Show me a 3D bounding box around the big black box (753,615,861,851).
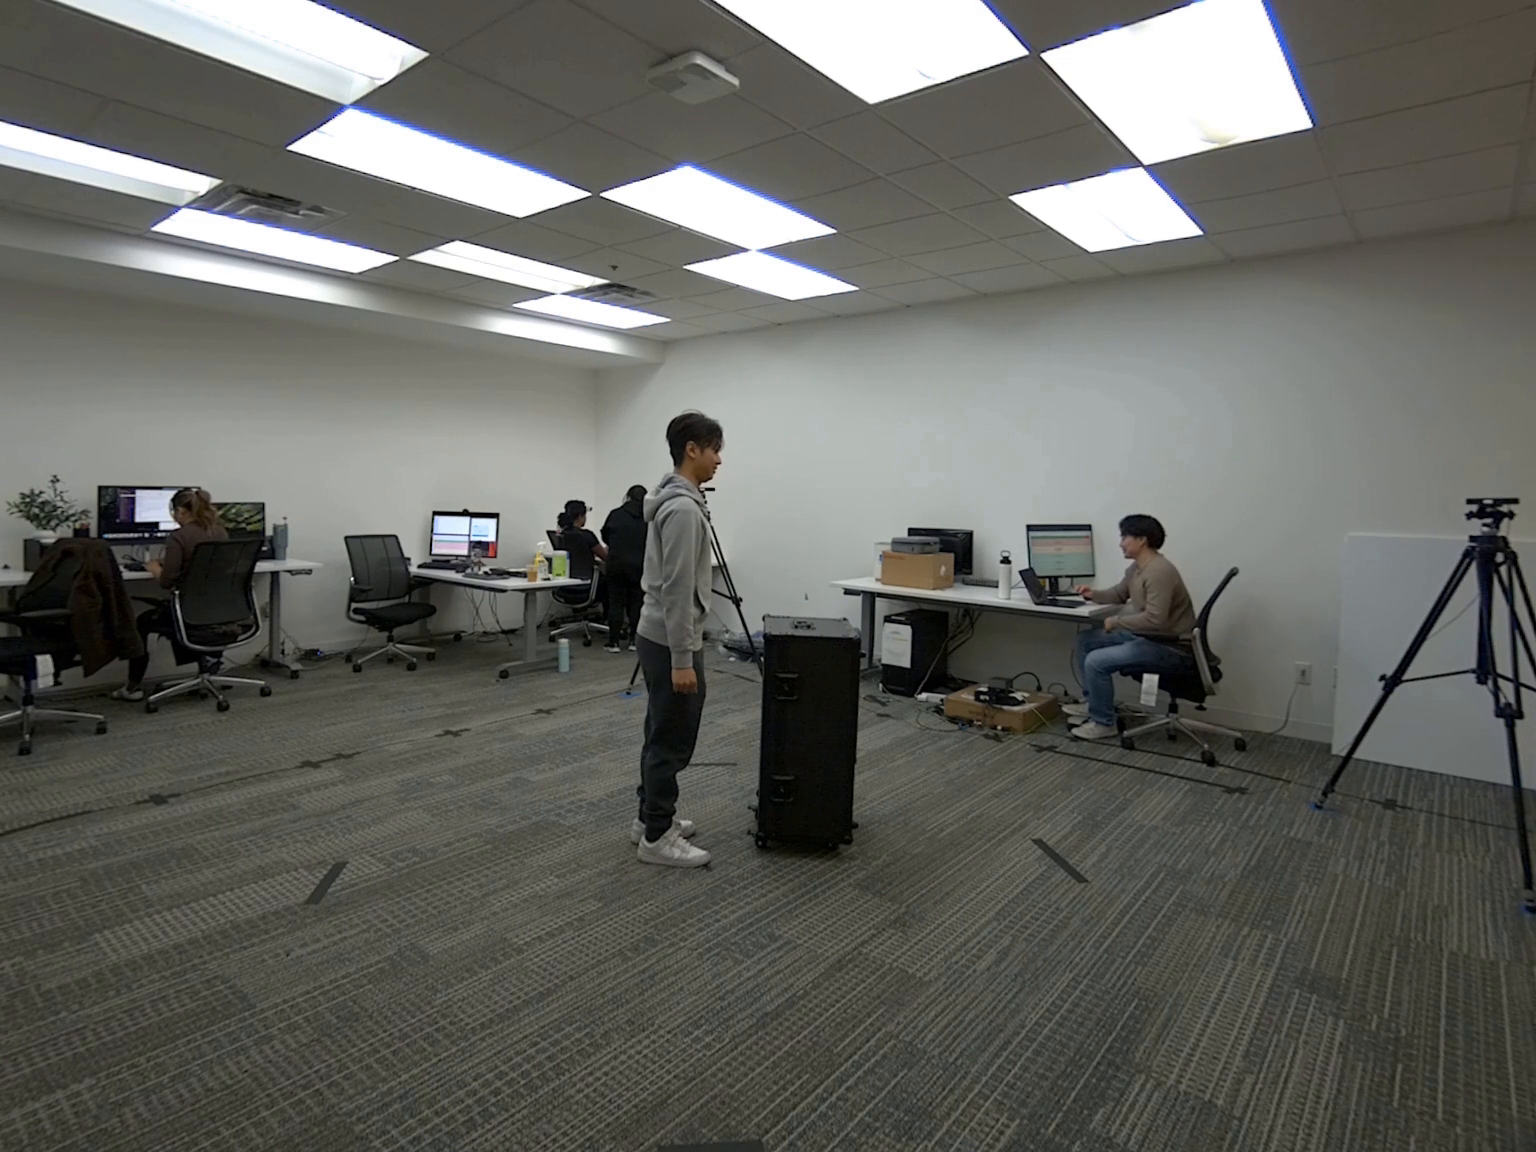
[{"bbox_3d":[0.150,0.620,3.412,0.397,0.859,0.522,3,4,1],"label":"big black box"}]
